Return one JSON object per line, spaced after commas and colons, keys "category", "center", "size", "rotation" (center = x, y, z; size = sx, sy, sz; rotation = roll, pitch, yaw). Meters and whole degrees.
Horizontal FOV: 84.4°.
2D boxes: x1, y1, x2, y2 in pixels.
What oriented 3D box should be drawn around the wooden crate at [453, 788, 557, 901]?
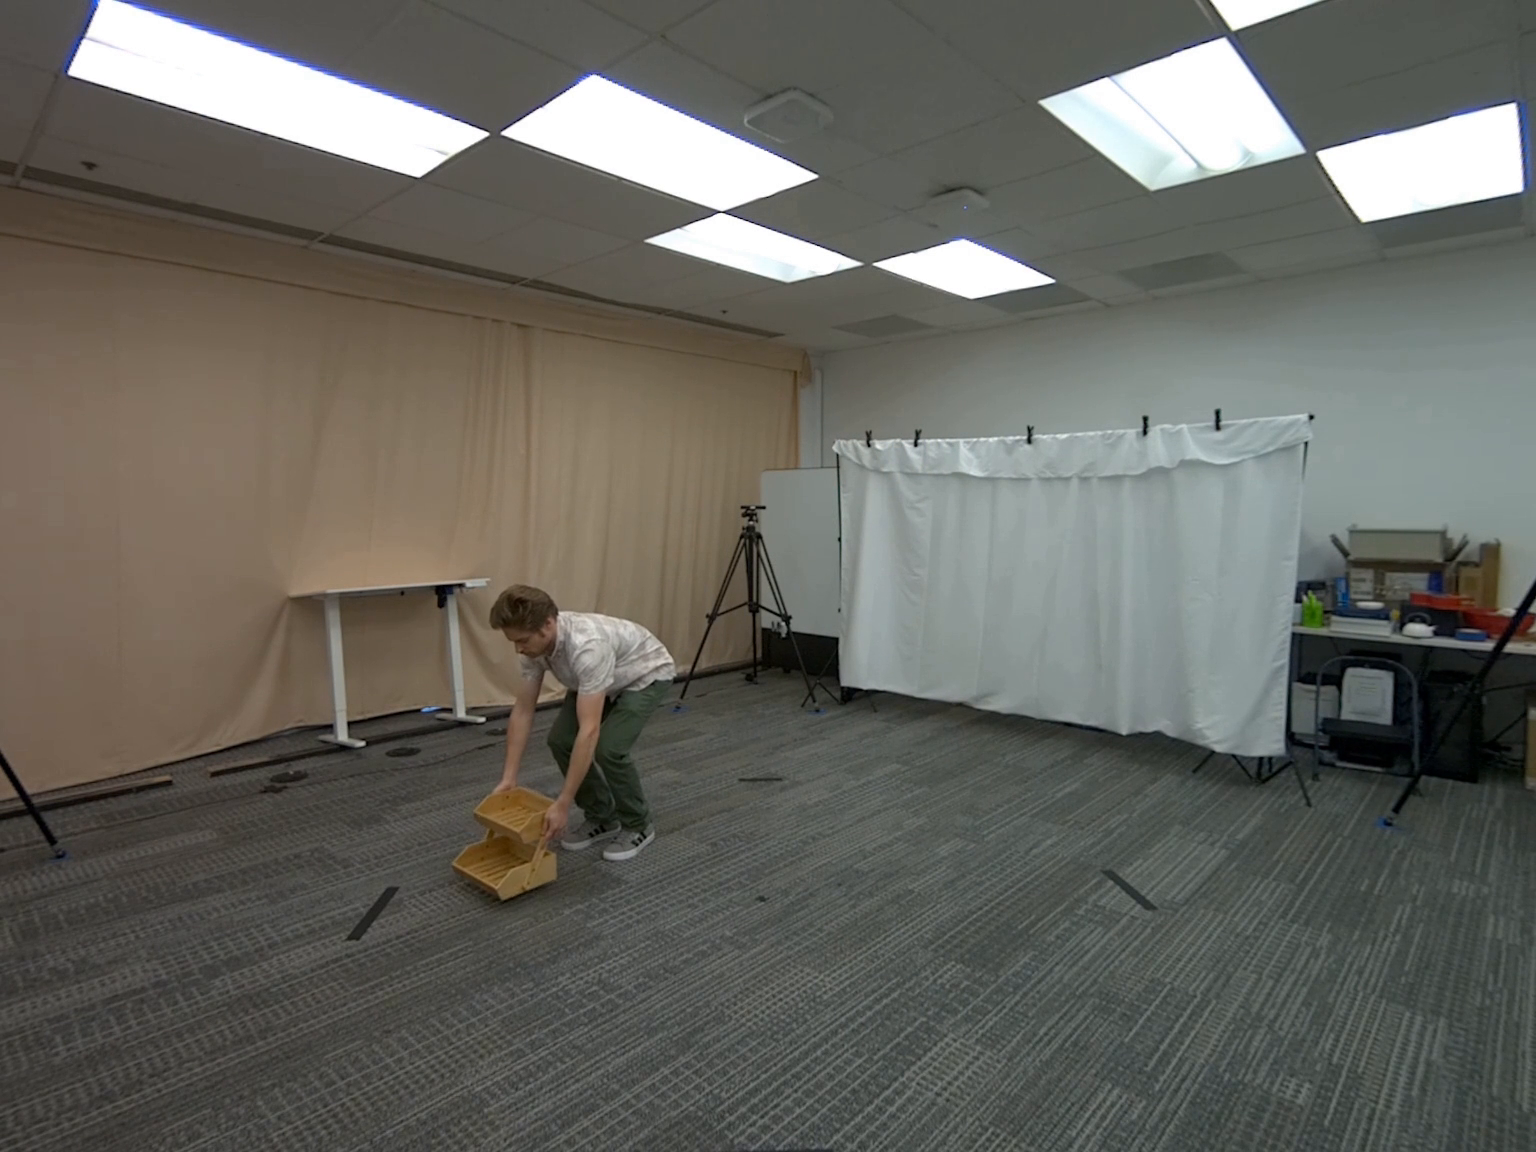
{"category": "wooden crate", "center": [-0.956, 0.970, 3.087], "size": [0.335, 0.273, 0.293], "rotation": [4, 5, 40]}
